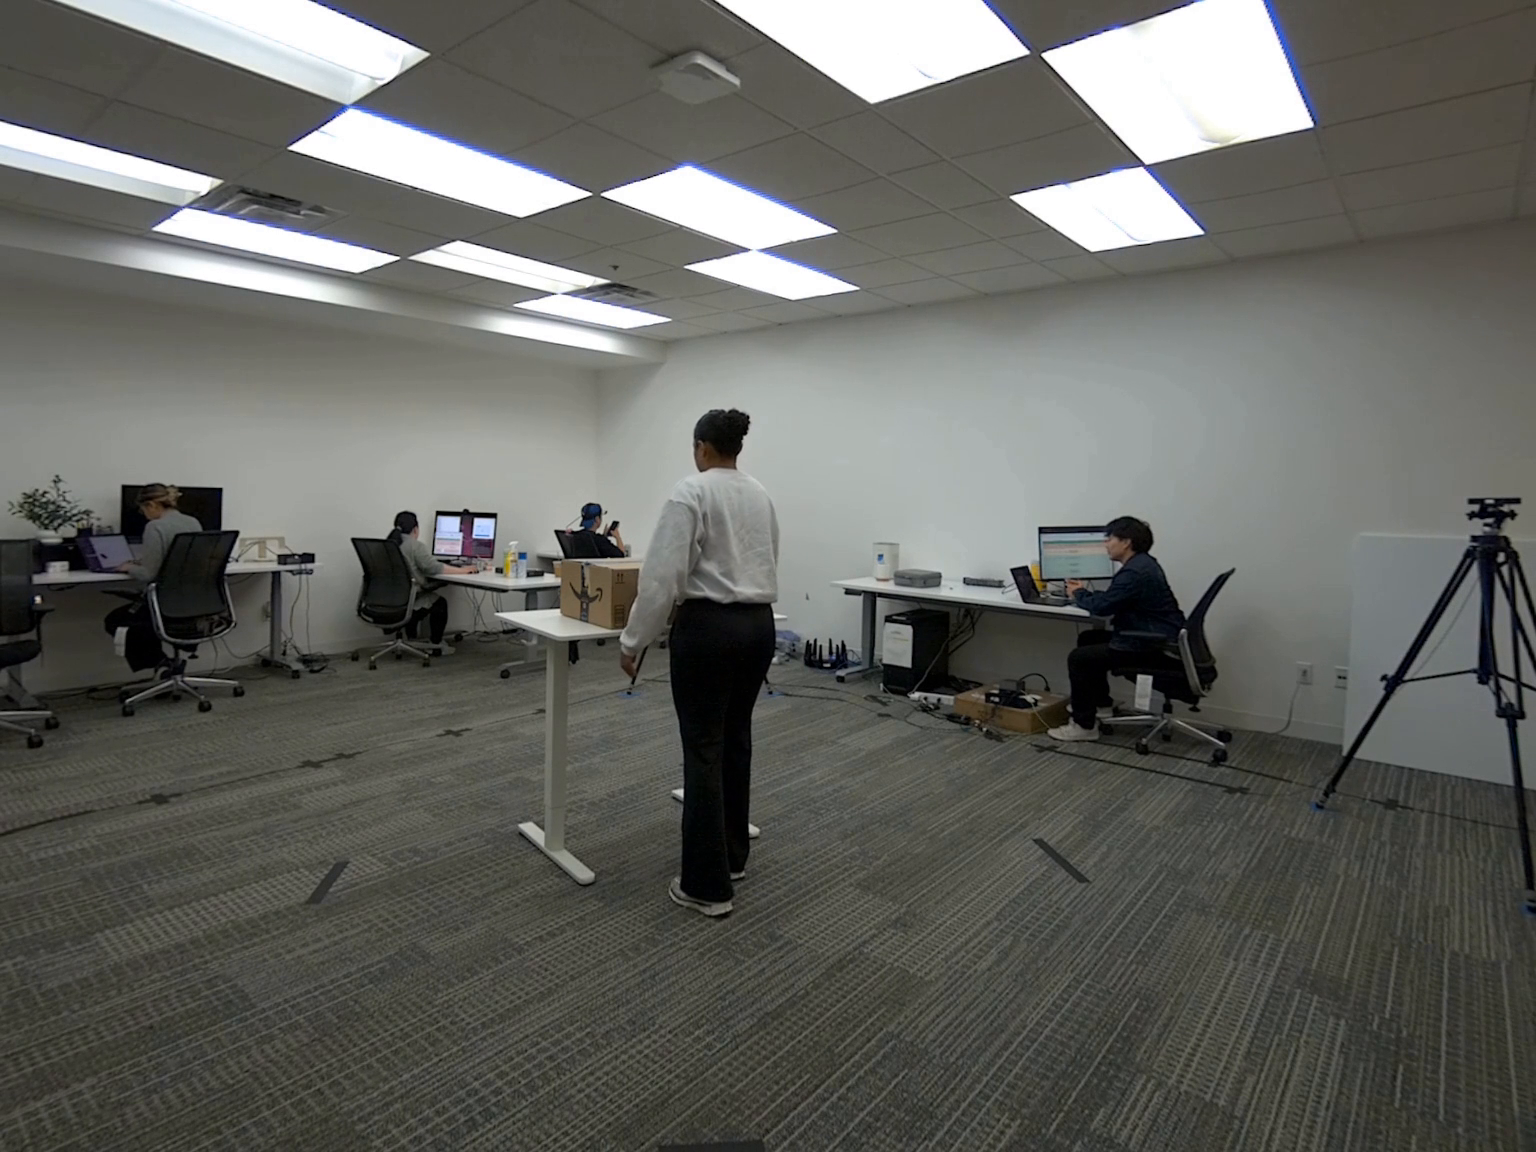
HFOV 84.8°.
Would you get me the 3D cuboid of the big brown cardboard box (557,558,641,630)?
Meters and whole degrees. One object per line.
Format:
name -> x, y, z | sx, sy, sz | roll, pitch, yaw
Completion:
big brown cardboard box -> -0.473, 0.049, 3.319 | 0.572, 0.232, 0.432 | -4, 7, -38
